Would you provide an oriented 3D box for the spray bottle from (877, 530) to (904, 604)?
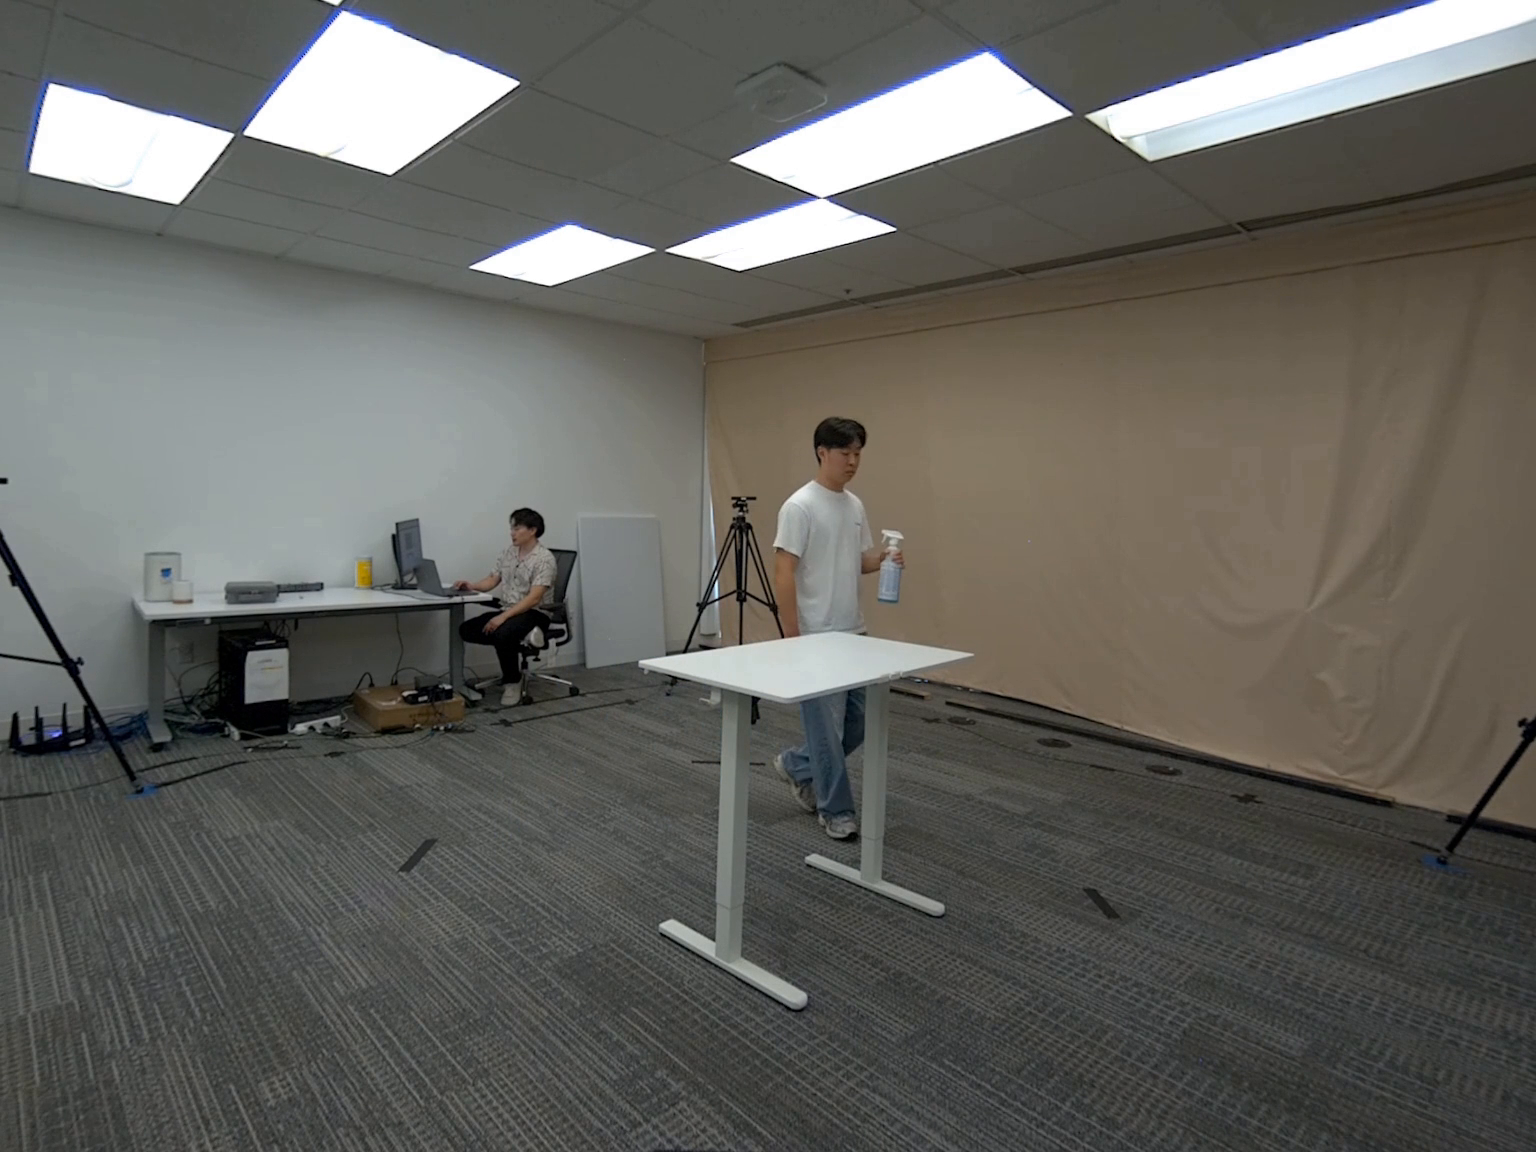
[{"bbox_3d":[0.483,-0.041,3.478,0.092,0.297,0.085,4,0,29],"label":"spray bottle"}]
